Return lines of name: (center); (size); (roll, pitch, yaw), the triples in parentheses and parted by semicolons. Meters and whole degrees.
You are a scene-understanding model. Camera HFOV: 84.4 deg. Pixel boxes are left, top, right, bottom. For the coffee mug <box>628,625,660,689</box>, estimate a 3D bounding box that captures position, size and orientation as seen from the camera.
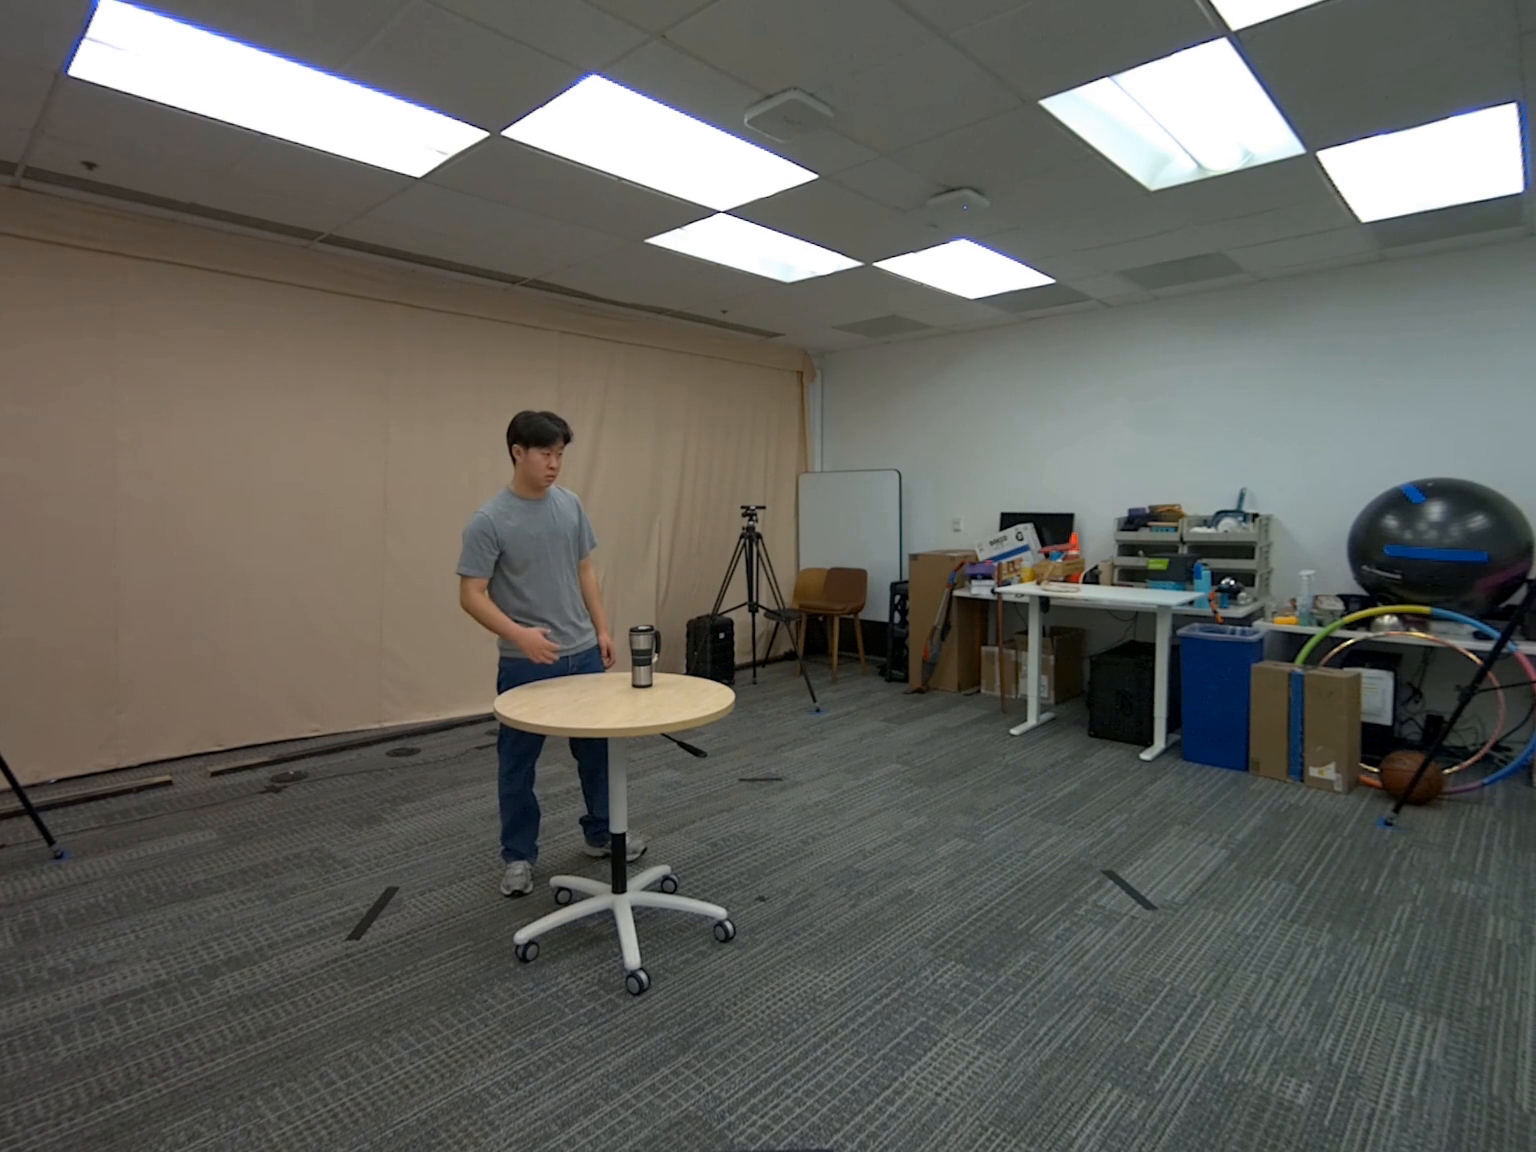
coffee mug: (-0.406, 0.276, 2.857); (0.119, 0.203, 0.090); (-3, 1, -26)
